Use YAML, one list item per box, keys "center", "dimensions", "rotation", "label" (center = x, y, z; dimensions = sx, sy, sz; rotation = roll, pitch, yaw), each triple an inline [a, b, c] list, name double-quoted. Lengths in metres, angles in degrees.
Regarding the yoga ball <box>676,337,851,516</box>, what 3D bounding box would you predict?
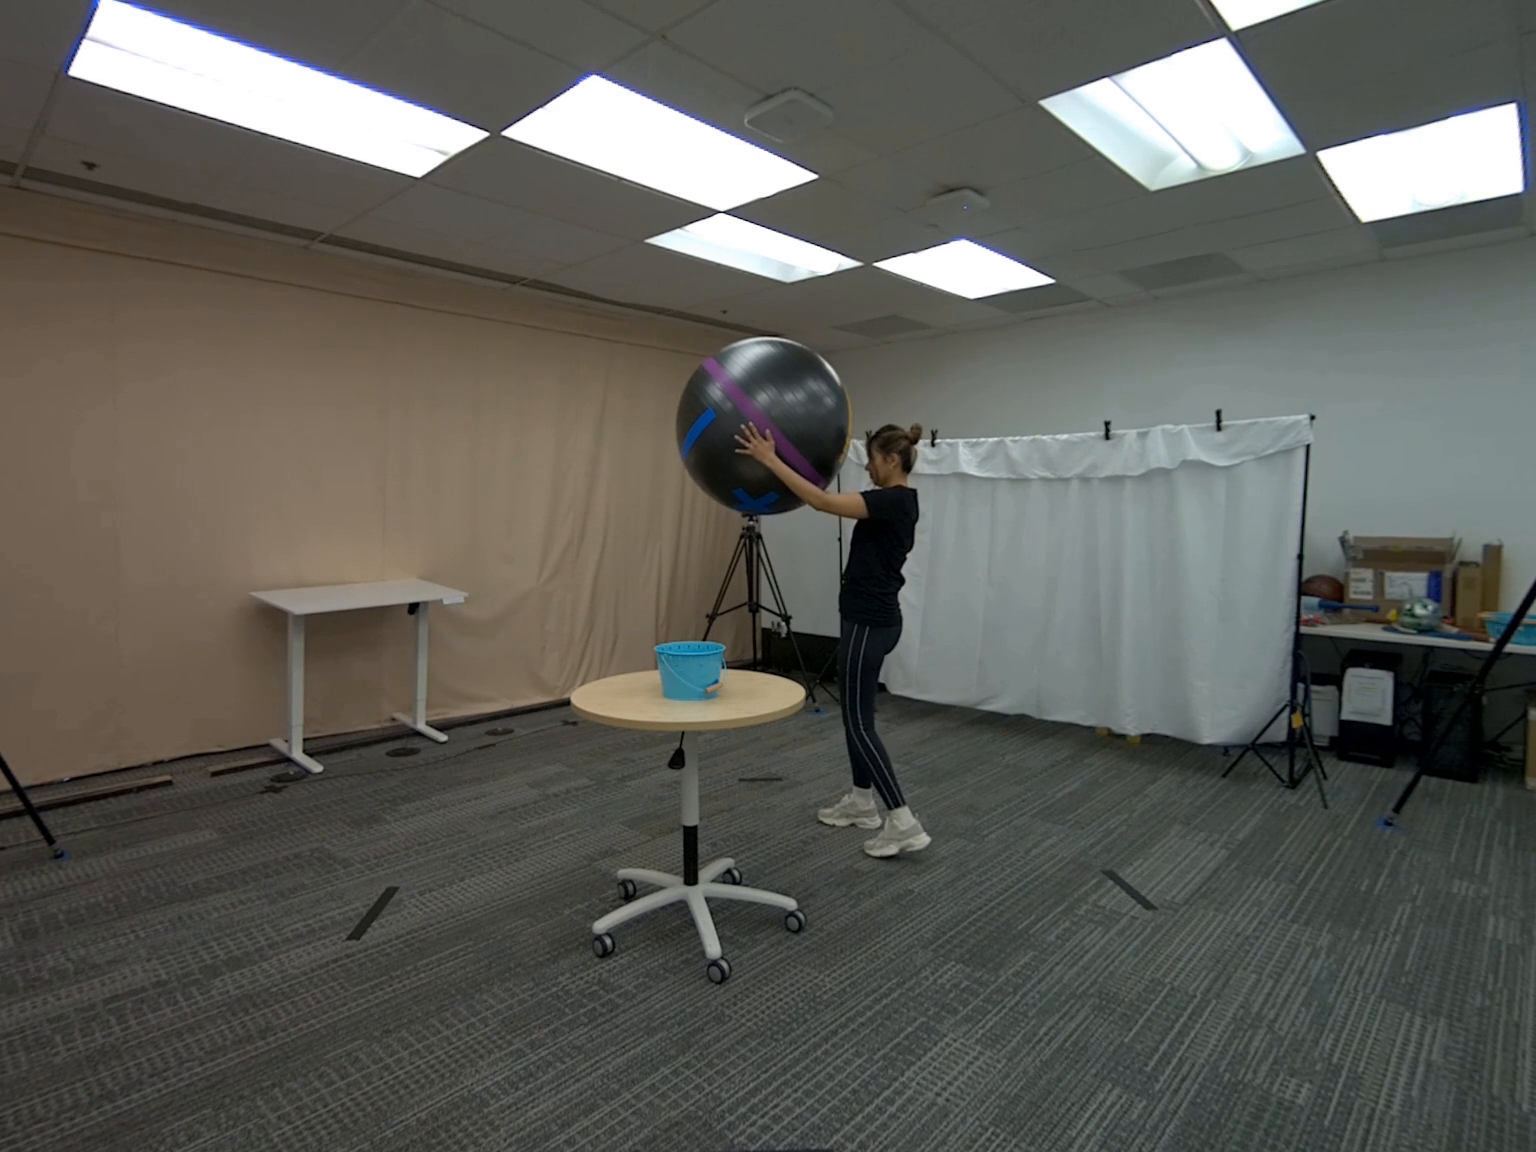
- center: [-0.018, -0.636, 3.631]
  dimensions: [0.757, 0.756, 0.761]
  rotation: [0, 4, -2]
  label: "yoga ball"
